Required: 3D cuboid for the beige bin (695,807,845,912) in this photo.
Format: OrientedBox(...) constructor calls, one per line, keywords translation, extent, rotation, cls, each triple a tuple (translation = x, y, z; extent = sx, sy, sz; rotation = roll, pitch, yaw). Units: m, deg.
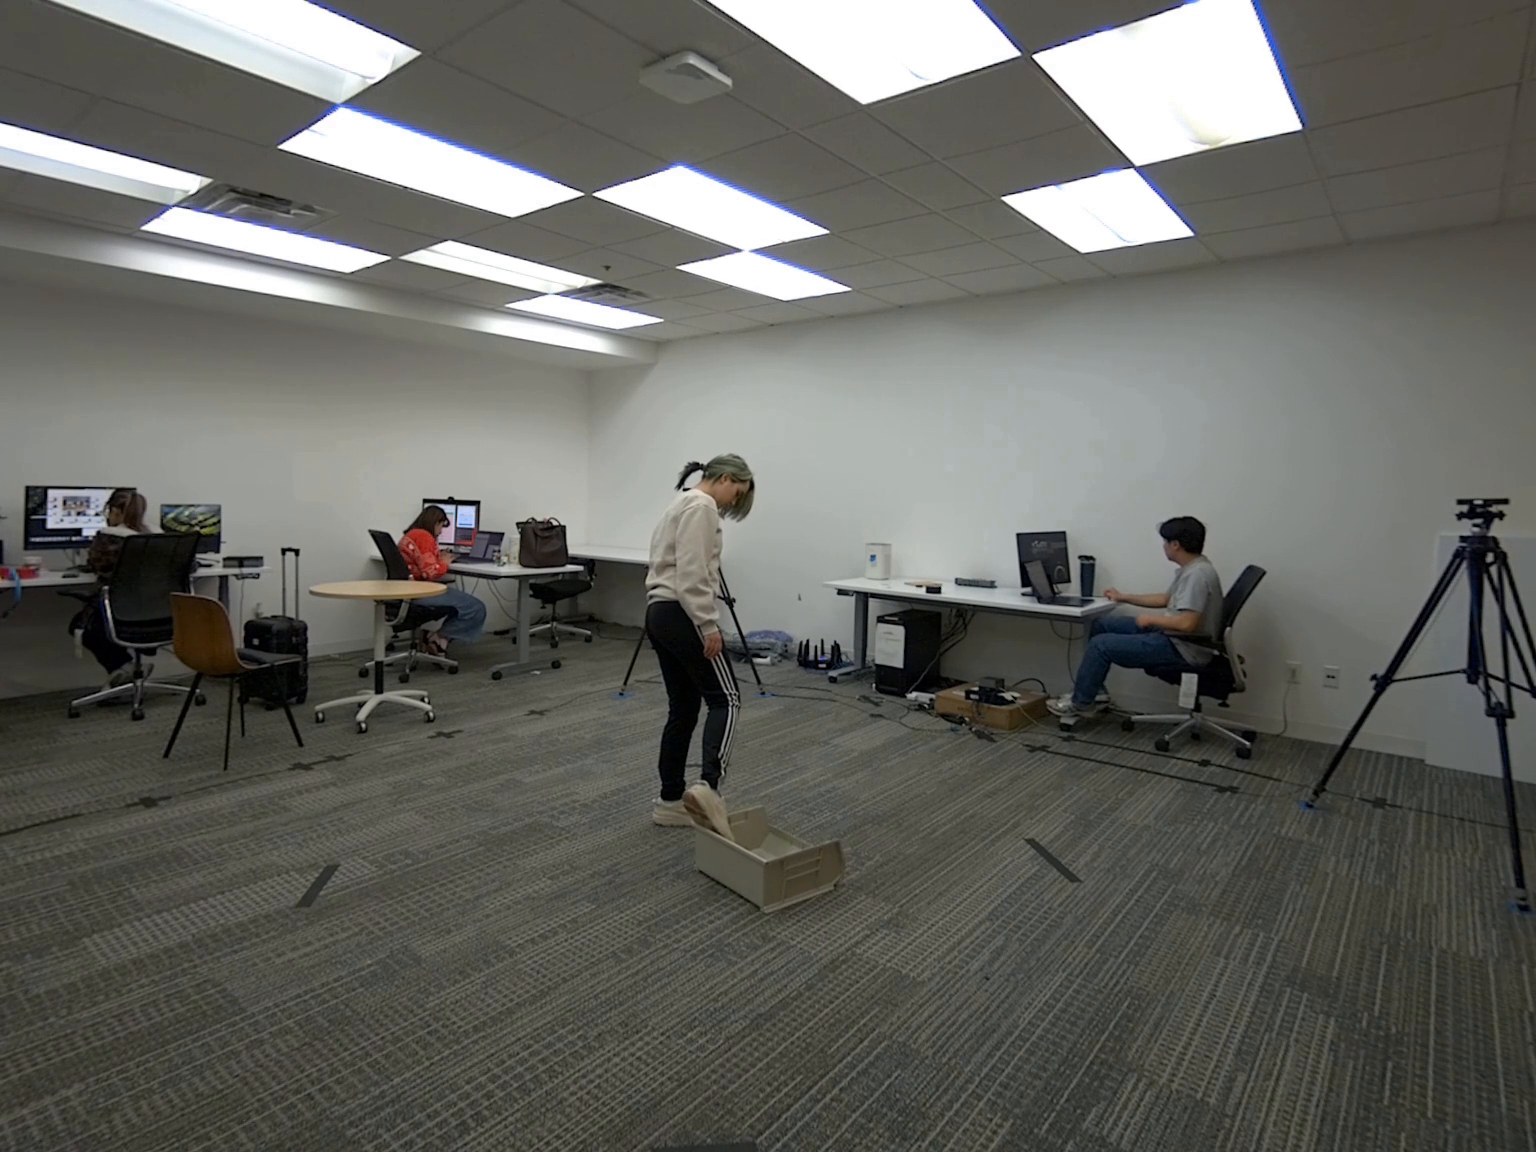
OrientedBox(translation=(-0.015, 0.986, 3.047), extent=(0.366, 0.188, 0.437), rotation=(-5, 8, -39), cls="beige bin")
